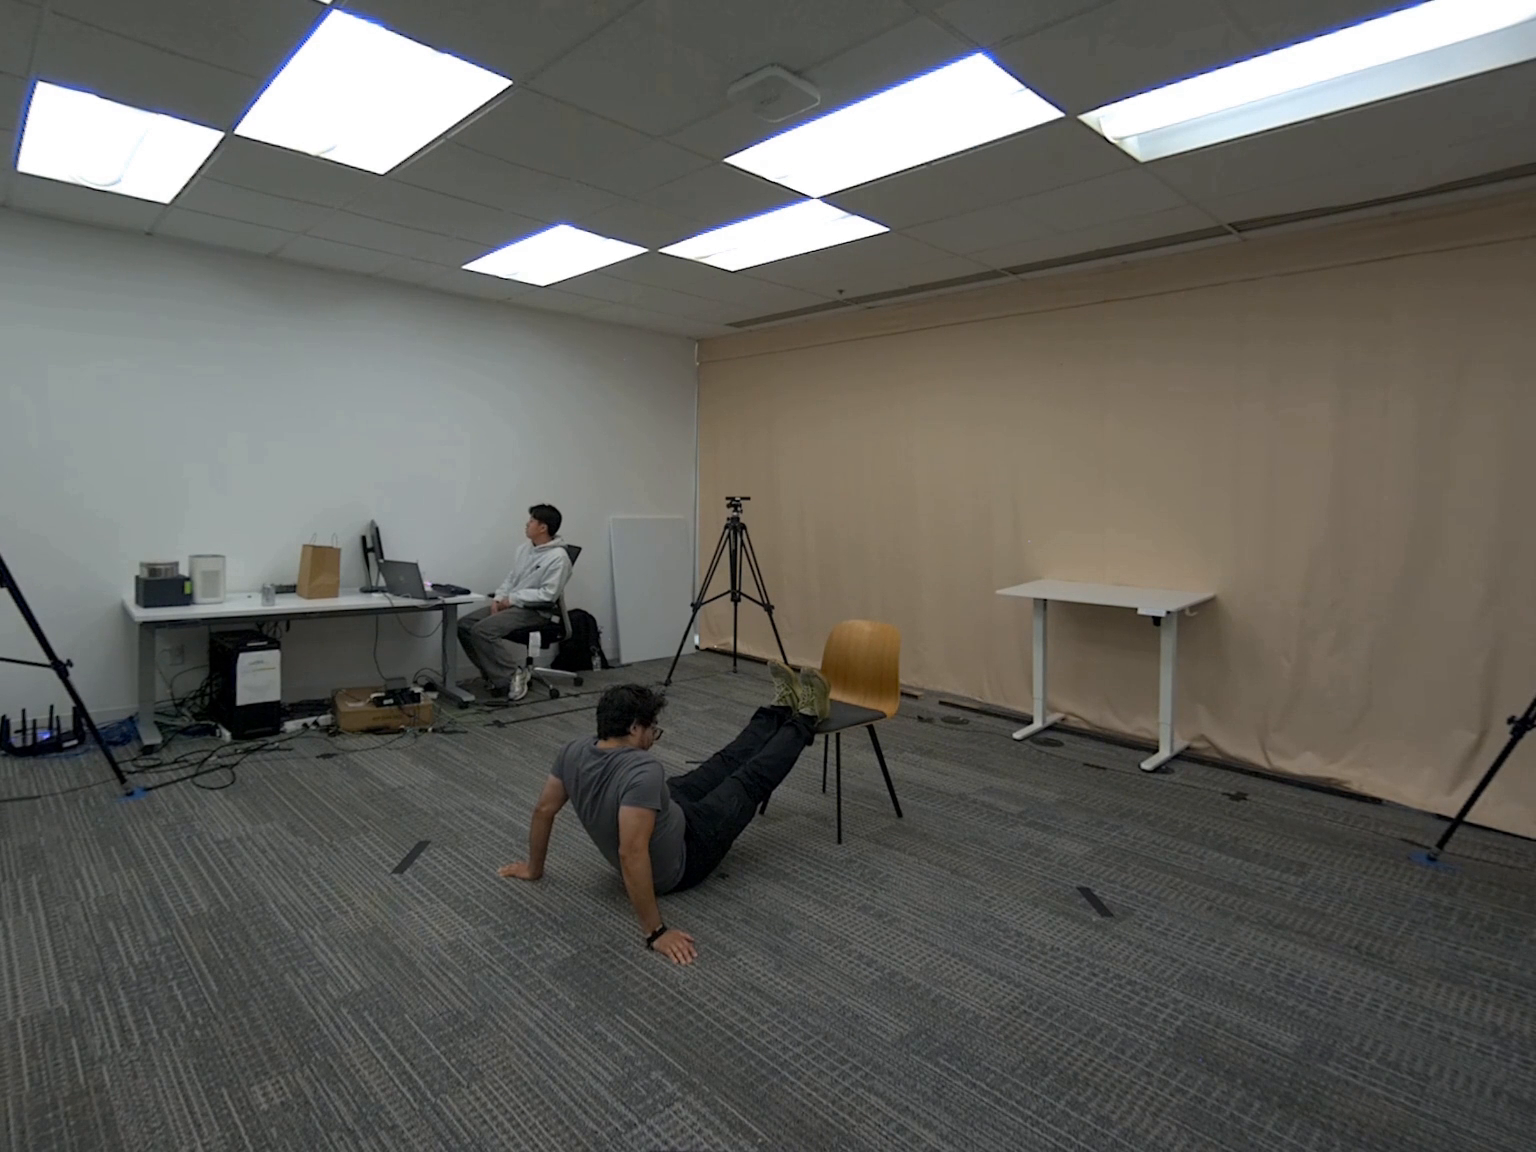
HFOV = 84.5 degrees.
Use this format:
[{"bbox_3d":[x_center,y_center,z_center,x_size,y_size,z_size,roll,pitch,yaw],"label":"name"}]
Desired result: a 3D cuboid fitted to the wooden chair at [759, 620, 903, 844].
[{"bbox_3d":[0.277,0.640,3.702,0.490,0.877,0.510,4,0,44],"label":"wooden chair"}]
